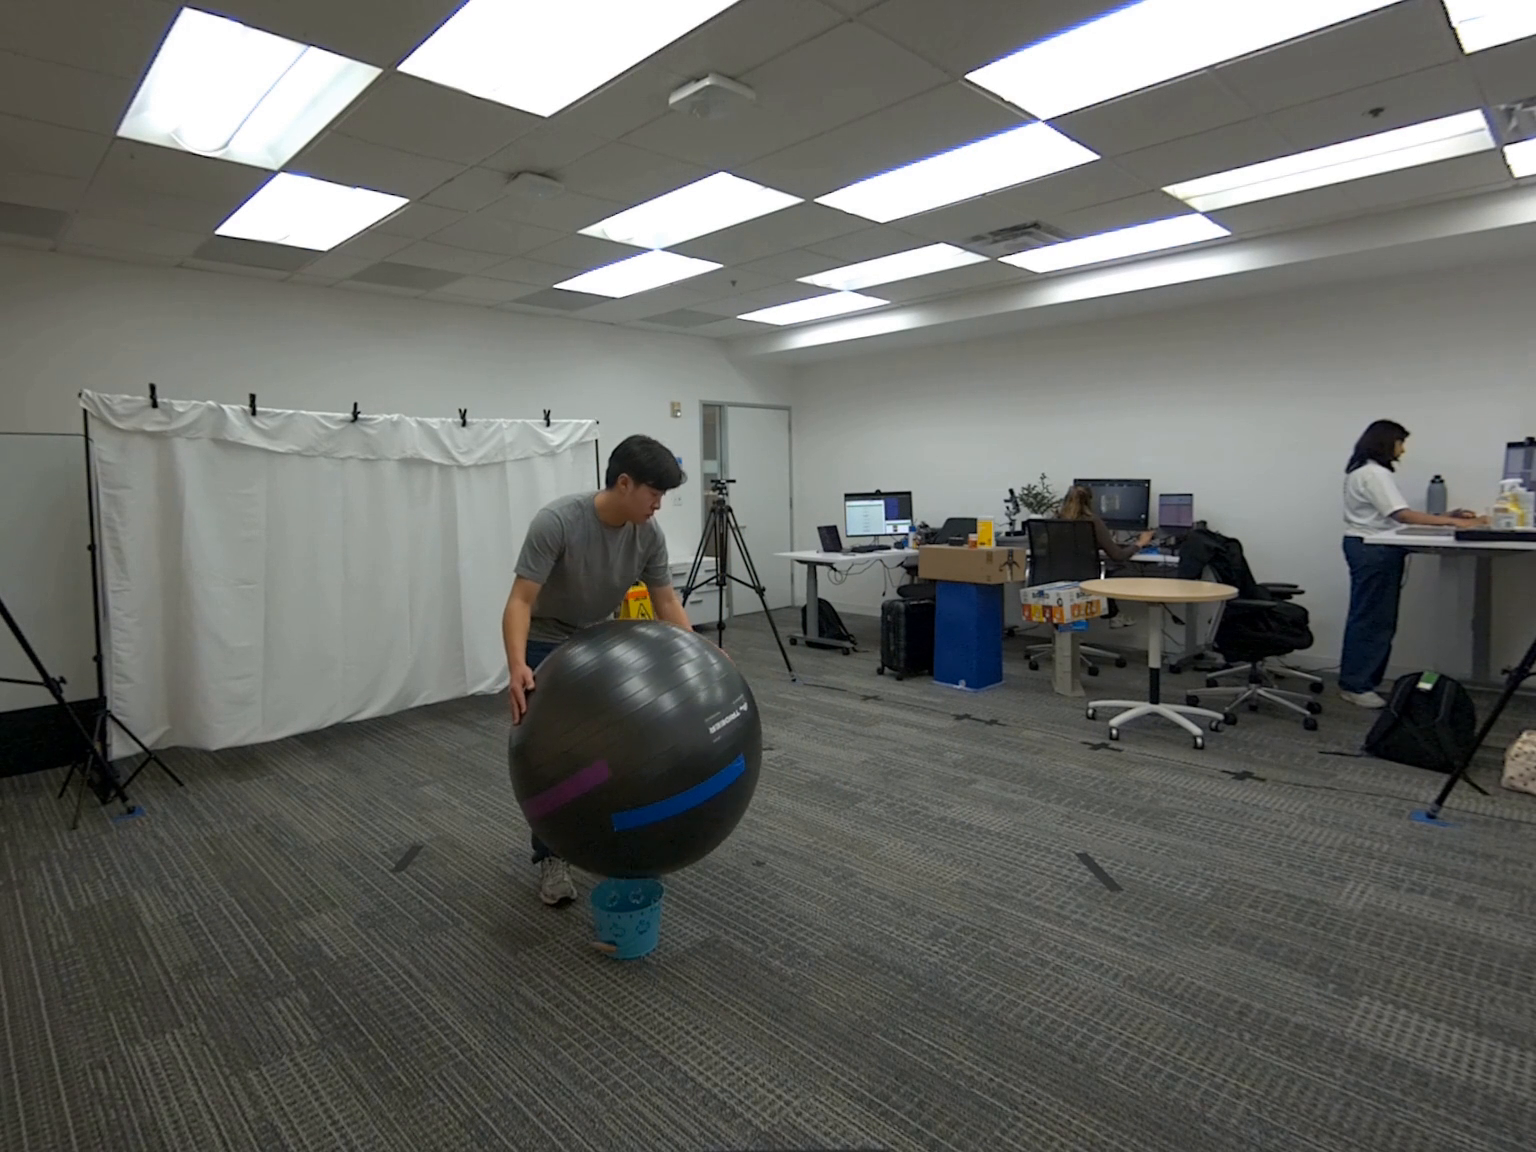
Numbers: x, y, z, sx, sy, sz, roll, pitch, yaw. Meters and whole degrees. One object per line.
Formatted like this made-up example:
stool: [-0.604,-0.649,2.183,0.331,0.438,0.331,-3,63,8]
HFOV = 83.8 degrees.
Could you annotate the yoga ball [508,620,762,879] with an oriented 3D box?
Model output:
yoga ball: [-0.393,0.511,2.569,0.757,0.755,0.762,-1,5,-2]
